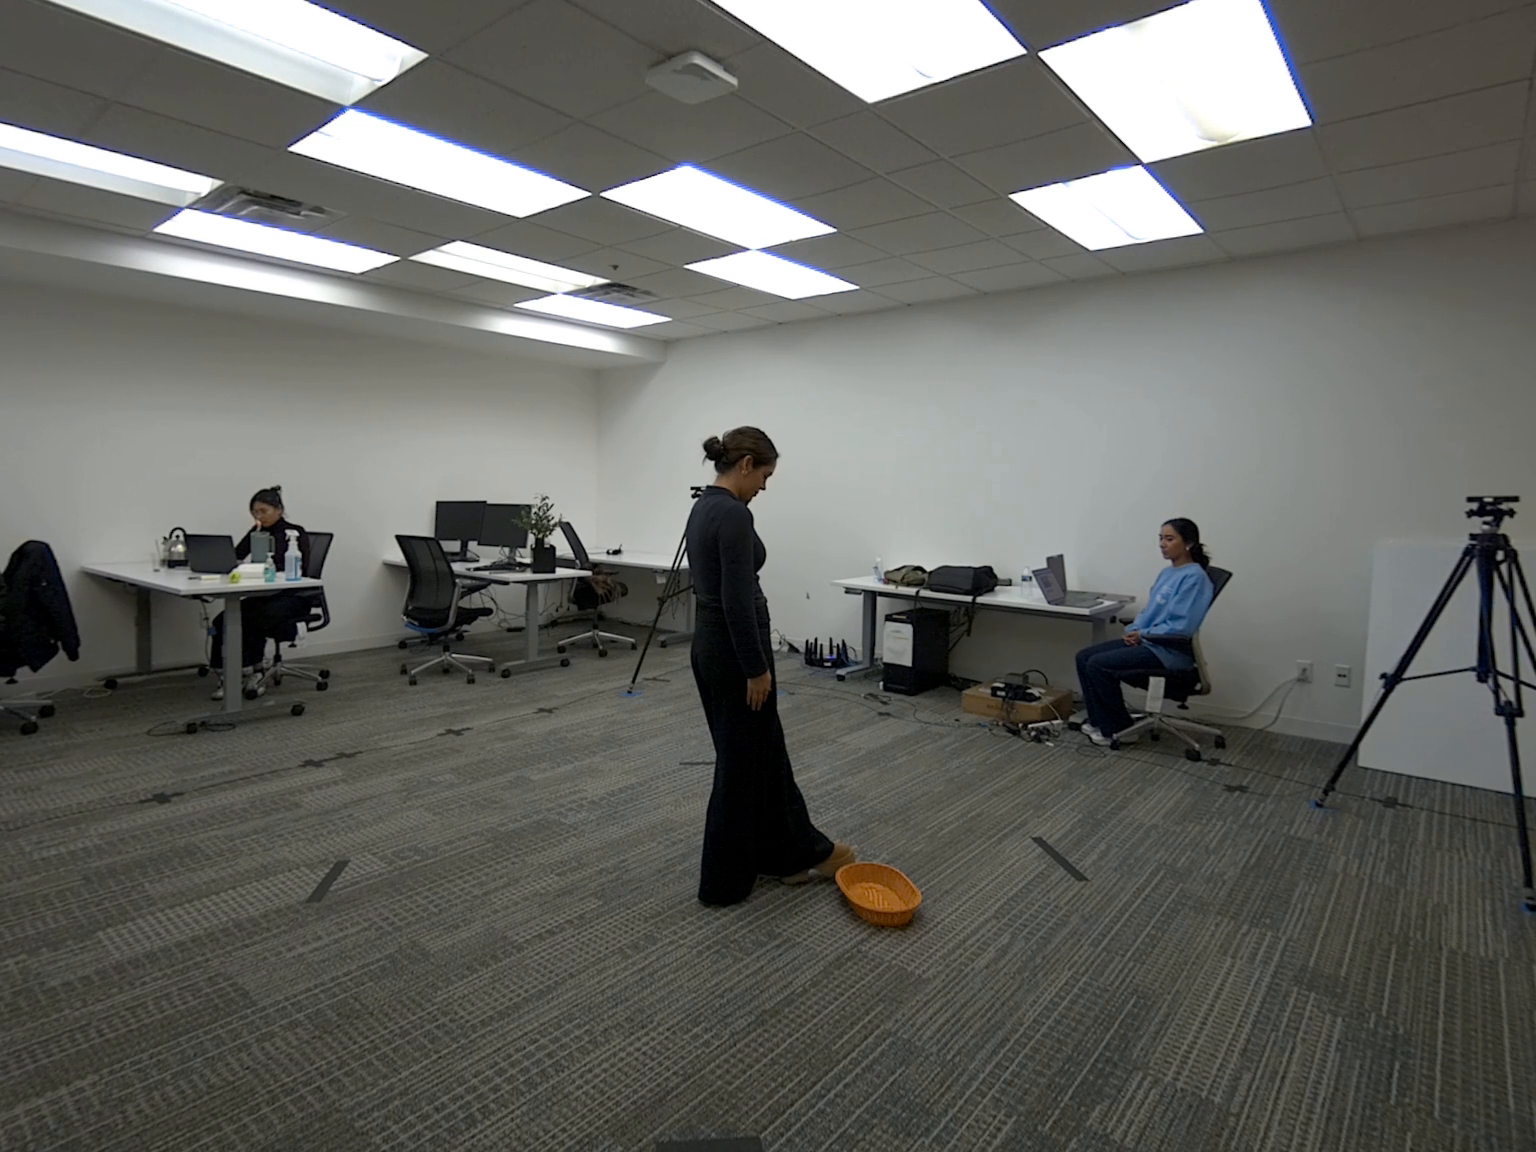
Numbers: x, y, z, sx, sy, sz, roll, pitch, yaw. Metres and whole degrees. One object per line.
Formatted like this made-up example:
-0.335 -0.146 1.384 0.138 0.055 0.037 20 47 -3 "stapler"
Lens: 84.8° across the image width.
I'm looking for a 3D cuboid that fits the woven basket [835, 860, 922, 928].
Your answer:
0.362 1.064 2.850 0.249 0.073 0.357 -2 7 -14 "woven basket"
